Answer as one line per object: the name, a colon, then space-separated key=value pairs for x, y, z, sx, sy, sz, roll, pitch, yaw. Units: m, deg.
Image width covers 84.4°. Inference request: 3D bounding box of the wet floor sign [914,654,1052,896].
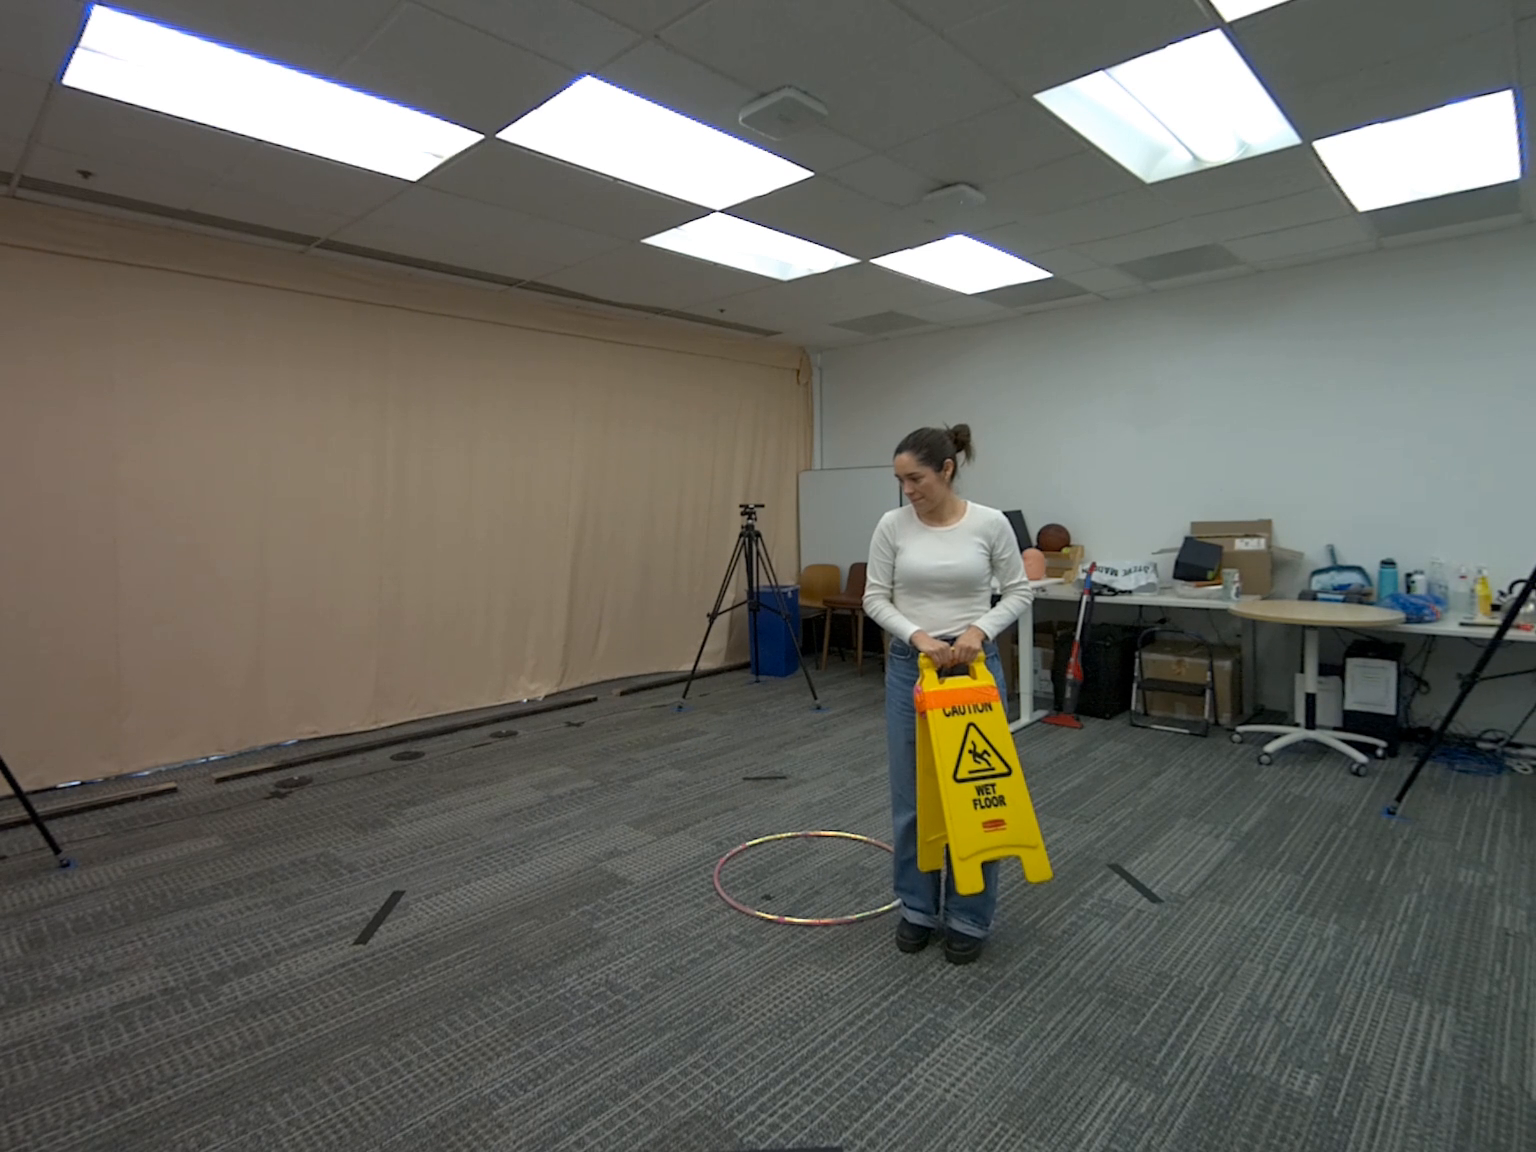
wet floor sign: x=0.570 y=0.543 z=2.443 sx=0.279 sy=0.649 sz=0.291 roll=-5 pitch=-7 yaw=-11
